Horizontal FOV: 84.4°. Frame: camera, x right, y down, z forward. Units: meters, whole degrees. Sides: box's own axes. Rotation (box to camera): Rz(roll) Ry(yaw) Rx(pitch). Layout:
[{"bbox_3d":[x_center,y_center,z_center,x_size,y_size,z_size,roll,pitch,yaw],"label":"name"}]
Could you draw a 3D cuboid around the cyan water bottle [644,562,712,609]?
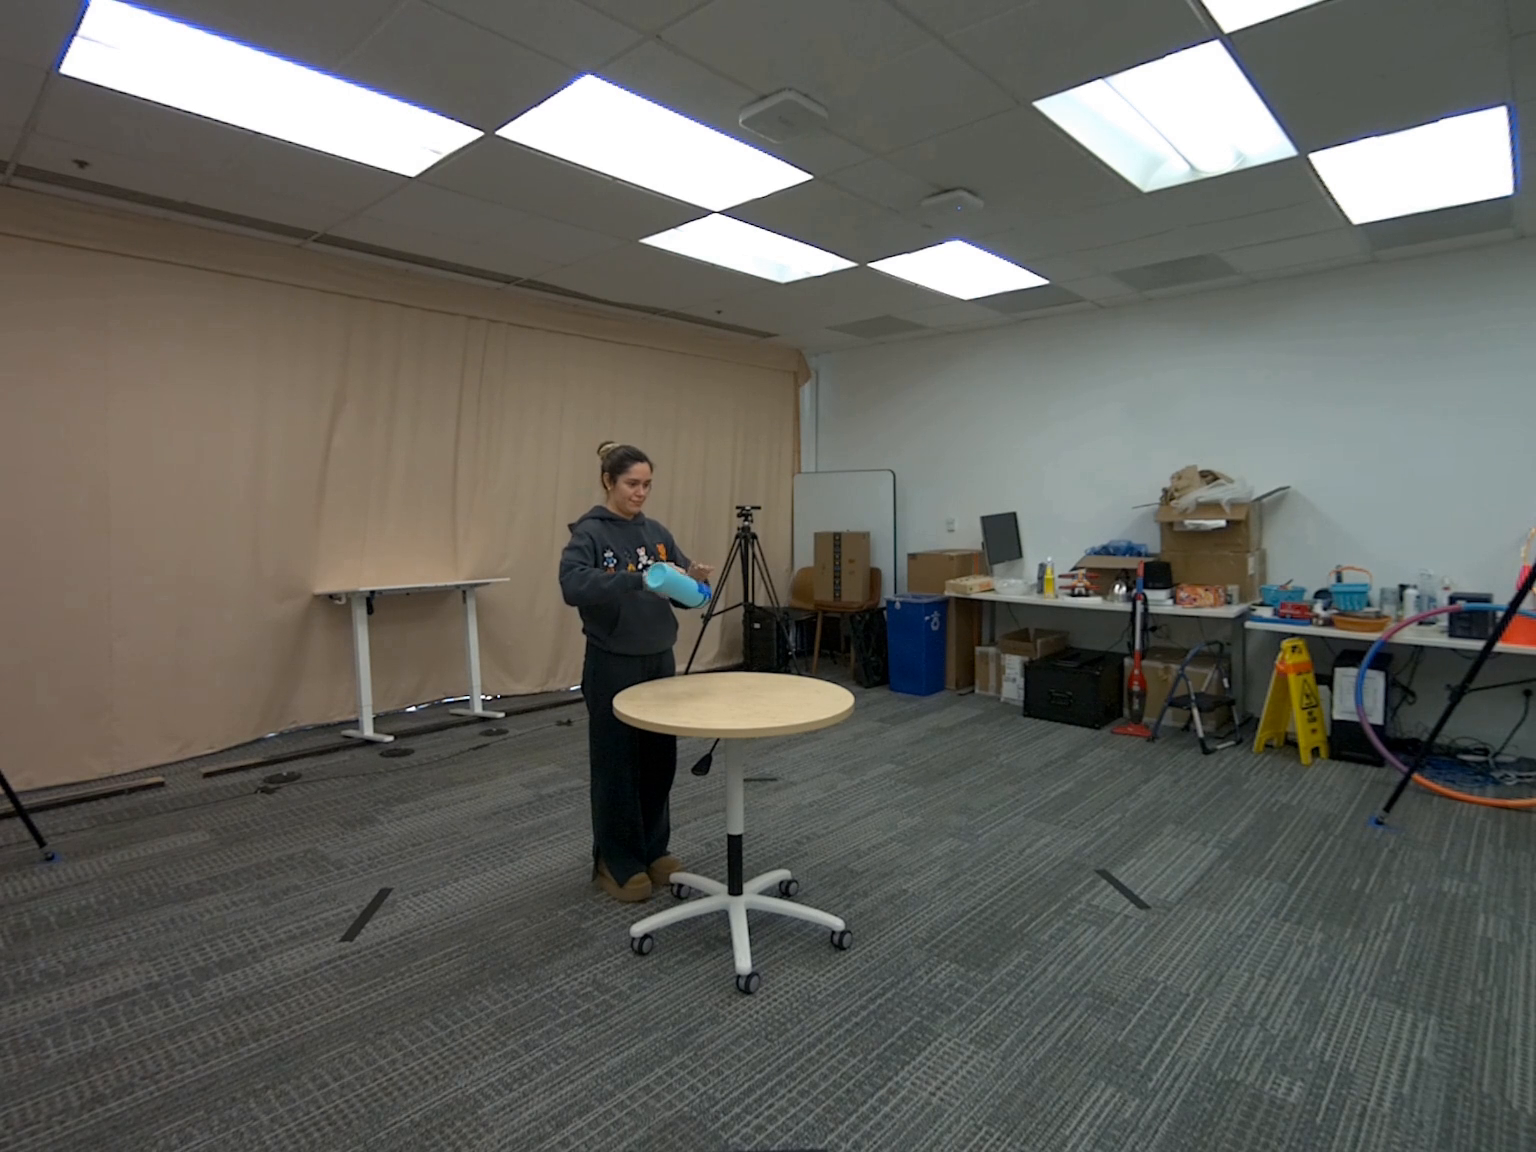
[{"bbox_3d":[-0.286,0.038,2.800,0.095,0.093,0.273,2,-16,32],"label":"cyan water bottle"}]
